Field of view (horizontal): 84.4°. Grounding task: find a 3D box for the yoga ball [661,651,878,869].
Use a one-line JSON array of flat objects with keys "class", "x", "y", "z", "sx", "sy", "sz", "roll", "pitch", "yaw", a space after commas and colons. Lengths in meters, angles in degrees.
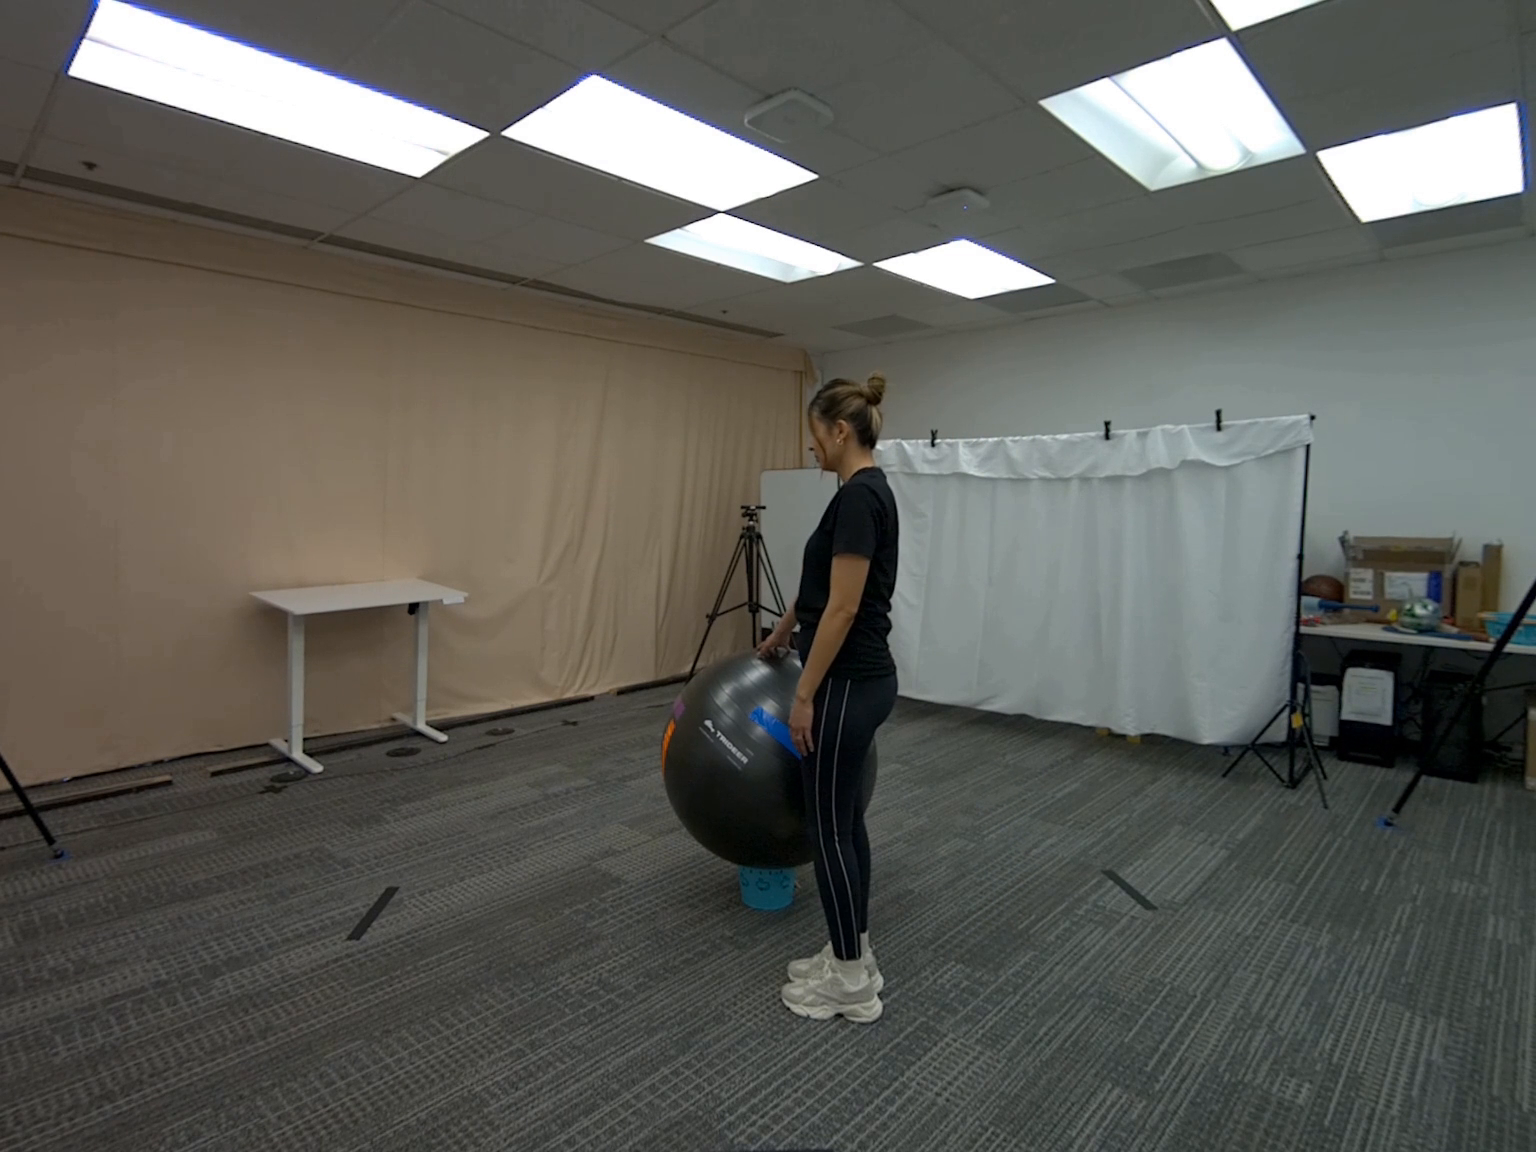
[{"class": "yoga ball", "x": 0.008, "y": 0.636, "z": 2.965, "sx": 0.757, "sy": 0.756, "sz": 0.760, "roll": 0, "pitch": 4, "yaw": -2}]
